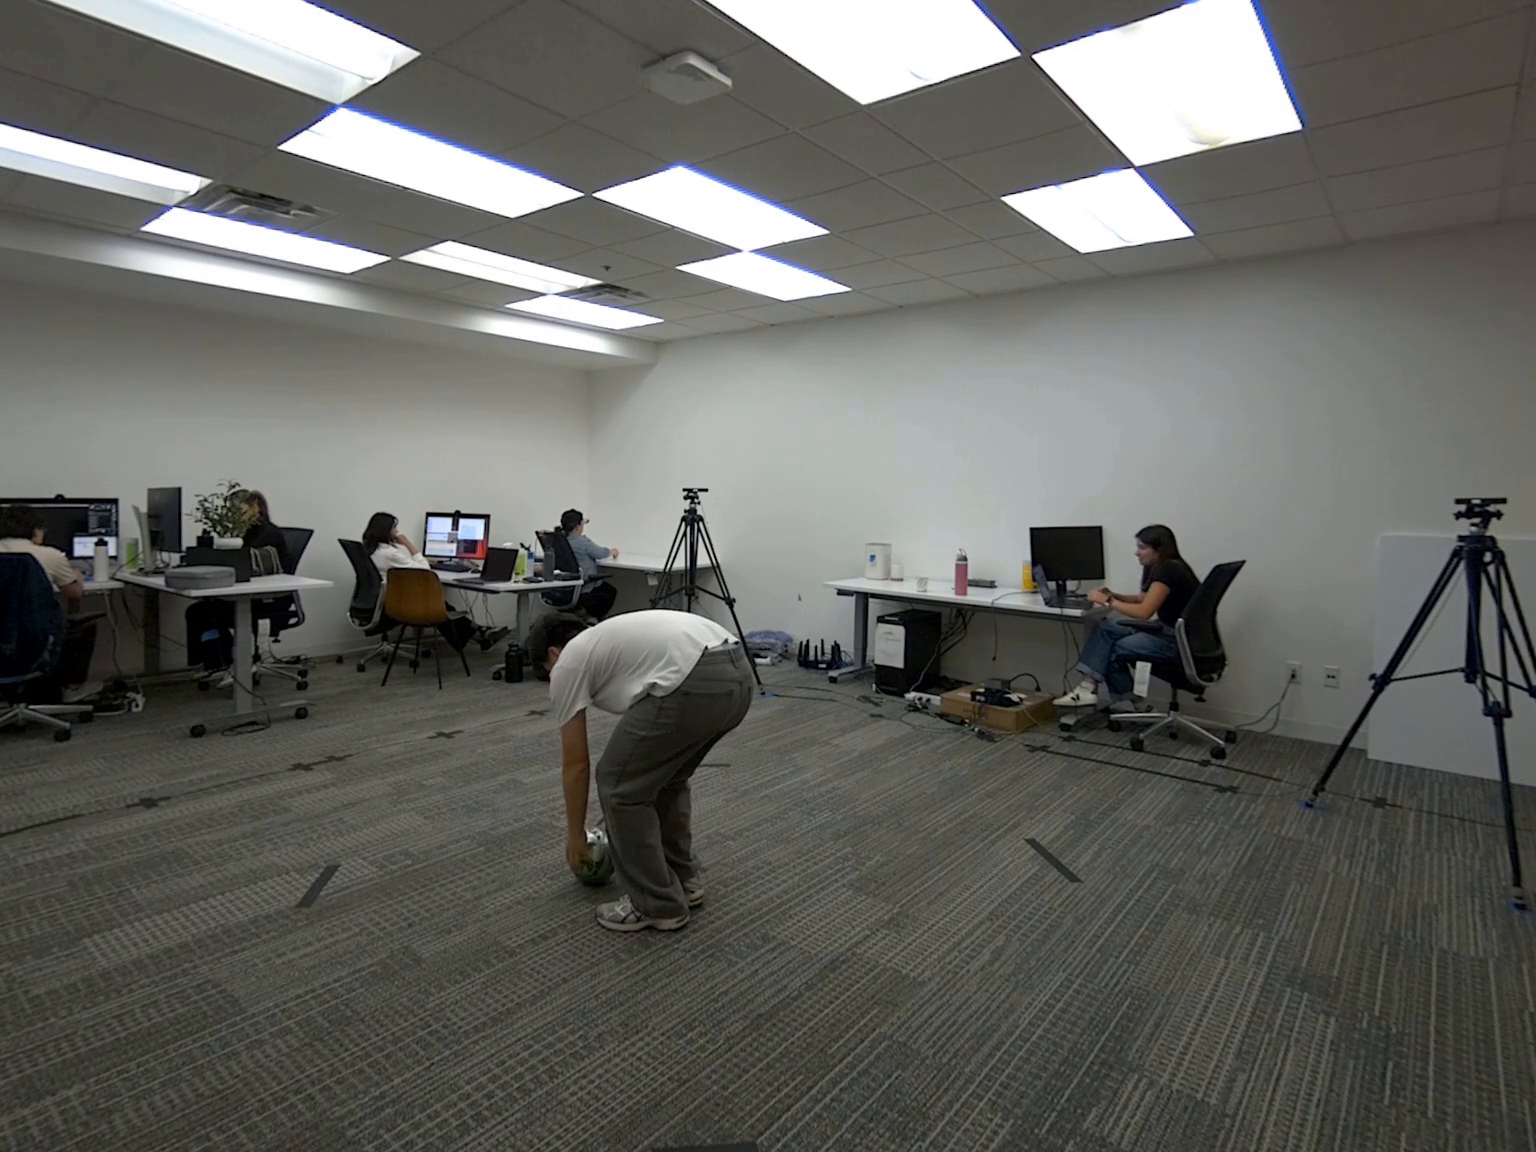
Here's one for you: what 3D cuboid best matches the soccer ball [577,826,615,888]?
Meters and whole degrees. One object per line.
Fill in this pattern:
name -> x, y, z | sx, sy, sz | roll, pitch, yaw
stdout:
soccer ball -> -0.603, 0.967, 3.003 | 0.187, 0.187, 0.188 | 1, 4, -2
